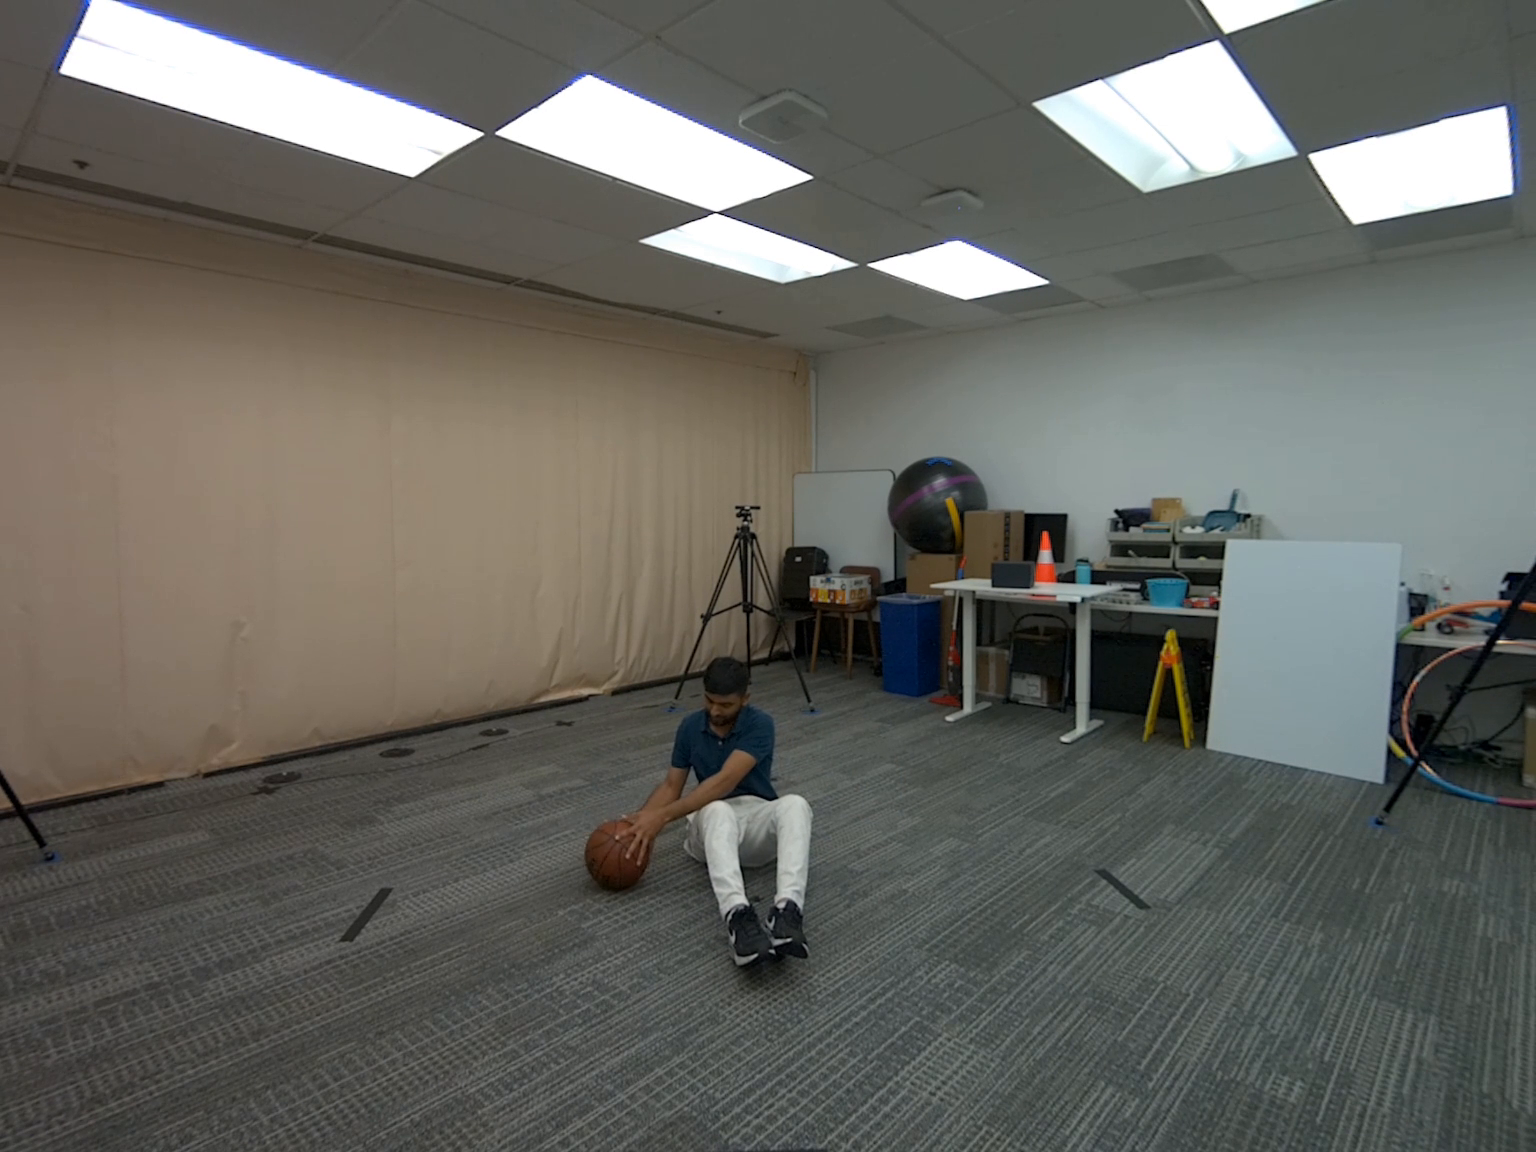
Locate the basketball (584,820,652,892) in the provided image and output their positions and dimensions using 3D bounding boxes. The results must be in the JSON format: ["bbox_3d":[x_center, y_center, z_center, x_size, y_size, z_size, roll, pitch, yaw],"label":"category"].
[{"bbox_3d":[-0.551,0.999,3.076,0.236,0.235,0.237,0,4,-2],"label":"basketball"}]
